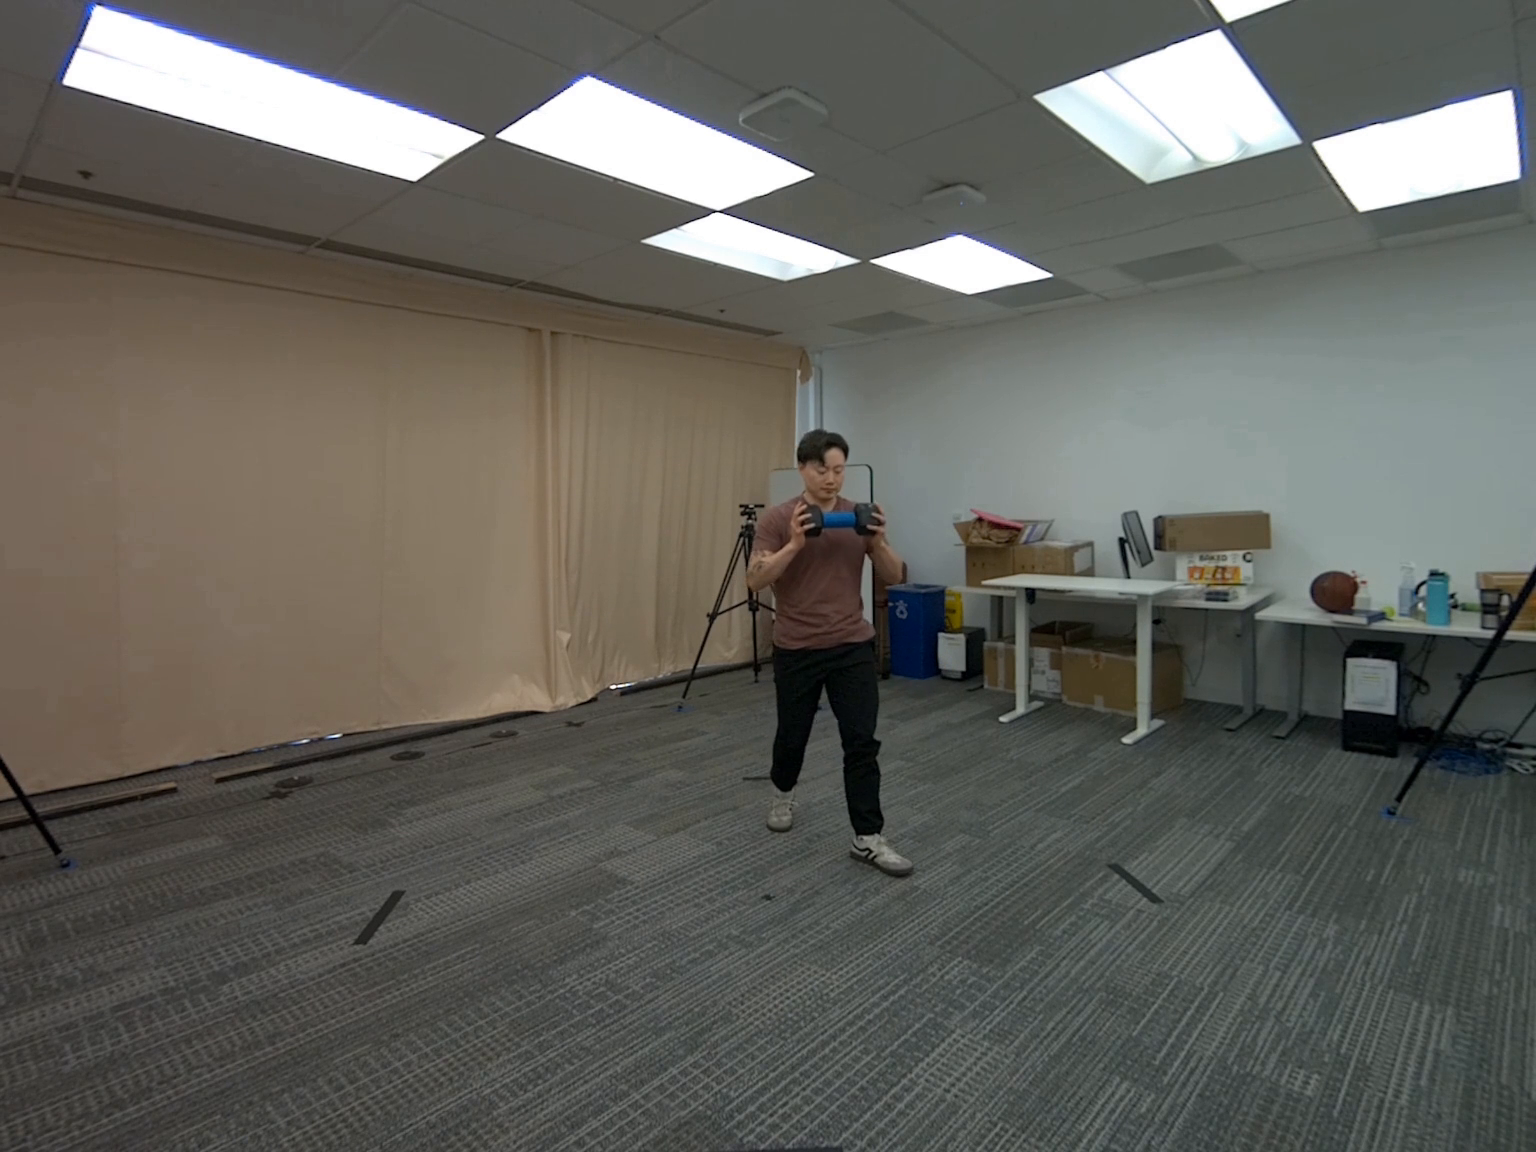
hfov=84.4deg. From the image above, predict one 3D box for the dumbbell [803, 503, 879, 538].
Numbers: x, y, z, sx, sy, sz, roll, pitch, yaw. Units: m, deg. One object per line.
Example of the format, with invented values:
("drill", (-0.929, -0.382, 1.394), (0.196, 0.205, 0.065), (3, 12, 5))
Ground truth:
("dumbbell", (0.287, -0.198, 3.162), (0.295, 0.107, 0.124), (-1, 19, 4))
